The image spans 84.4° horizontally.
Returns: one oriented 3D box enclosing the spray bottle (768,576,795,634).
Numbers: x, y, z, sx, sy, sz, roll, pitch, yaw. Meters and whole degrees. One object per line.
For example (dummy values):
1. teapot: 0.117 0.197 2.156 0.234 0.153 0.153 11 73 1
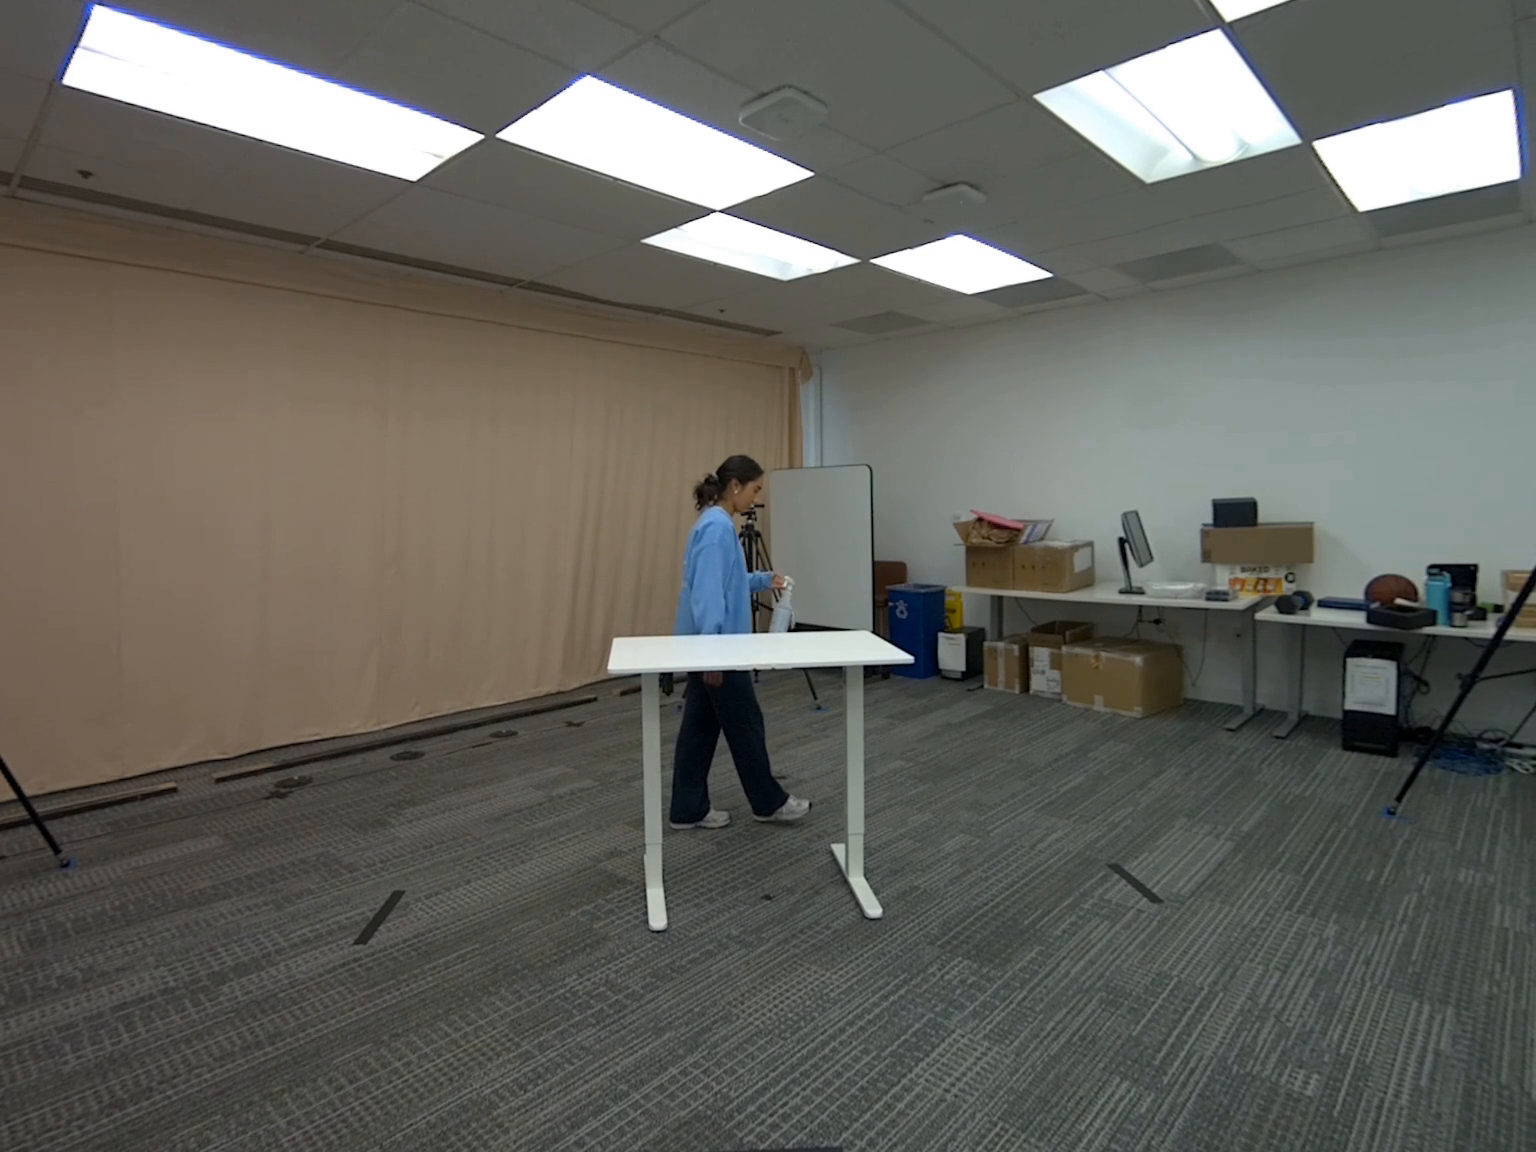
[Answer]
1. spray bottle: 0.077 0.153 3.946 0.087 0.298 0.090 17 -5 -31
